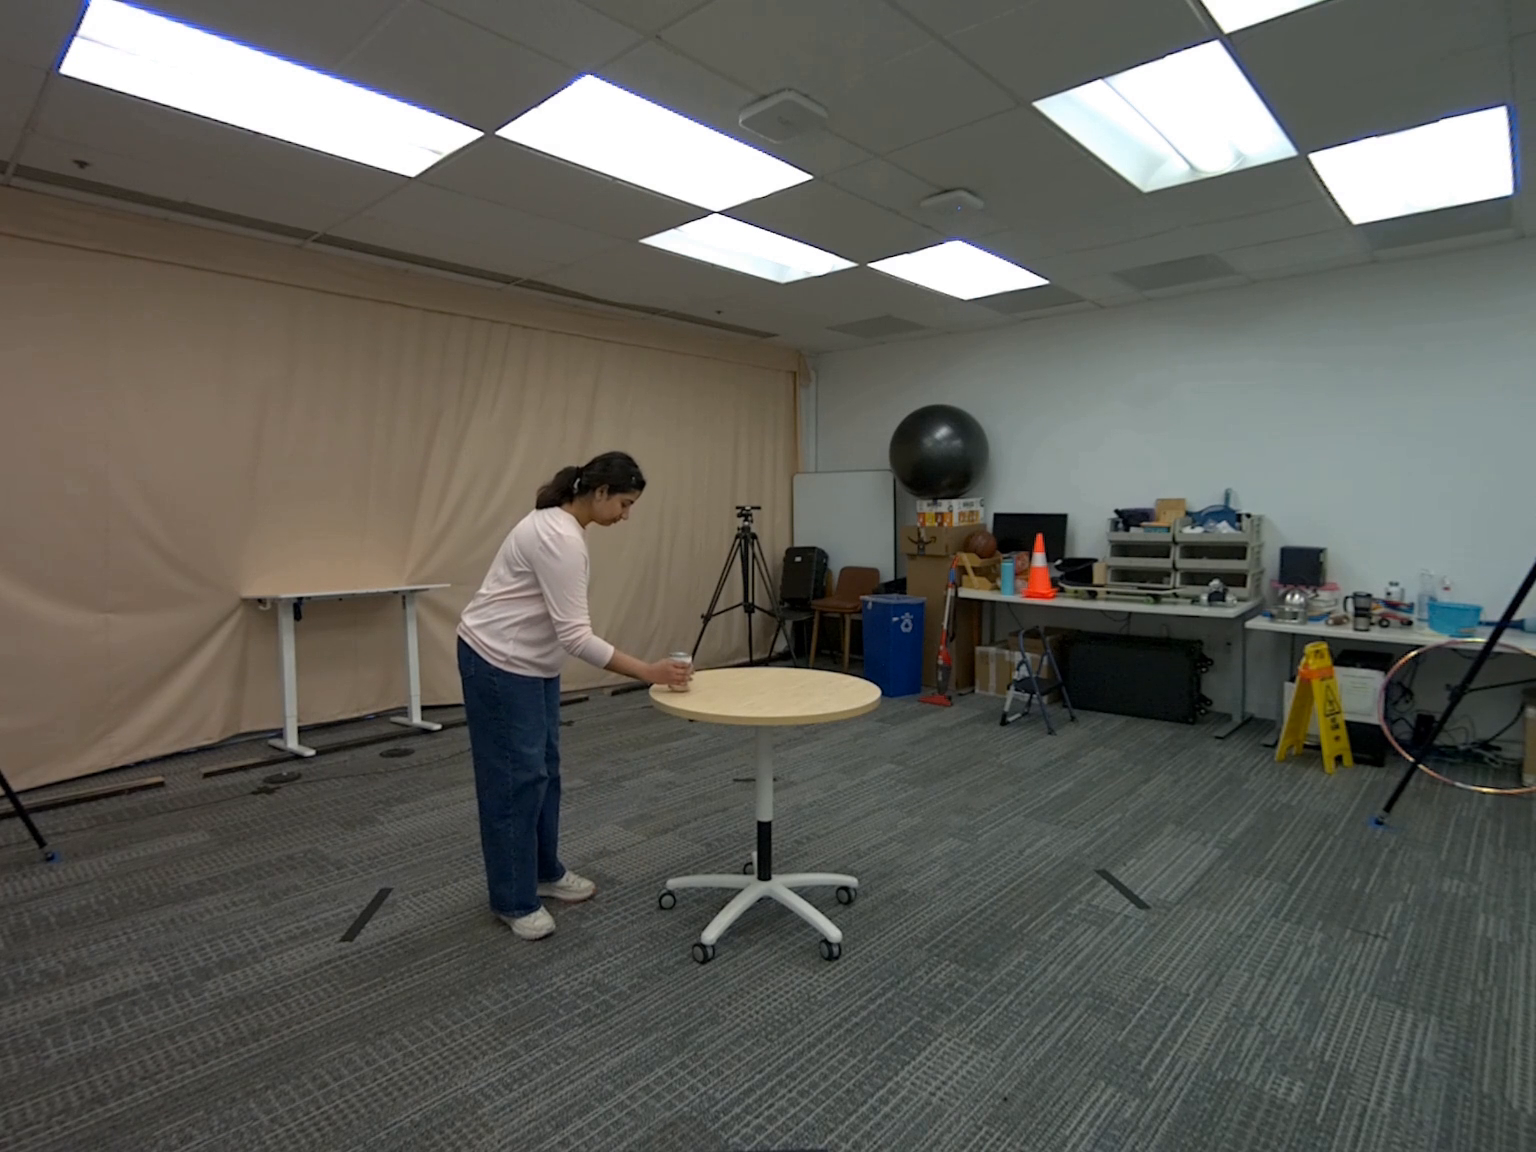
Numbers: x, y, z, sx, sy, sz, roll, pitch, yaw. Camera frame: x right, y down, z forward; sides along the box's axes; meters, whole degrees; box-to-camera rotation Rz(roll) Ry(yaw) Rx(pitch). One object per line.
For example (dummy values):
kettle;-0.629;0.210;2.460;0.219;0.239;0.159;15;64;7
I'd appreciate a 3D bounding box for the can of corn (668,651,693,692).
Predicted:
can of corn;-0.296;0.317;2.756;0.074;0.111;0.074;-1;4;-2
